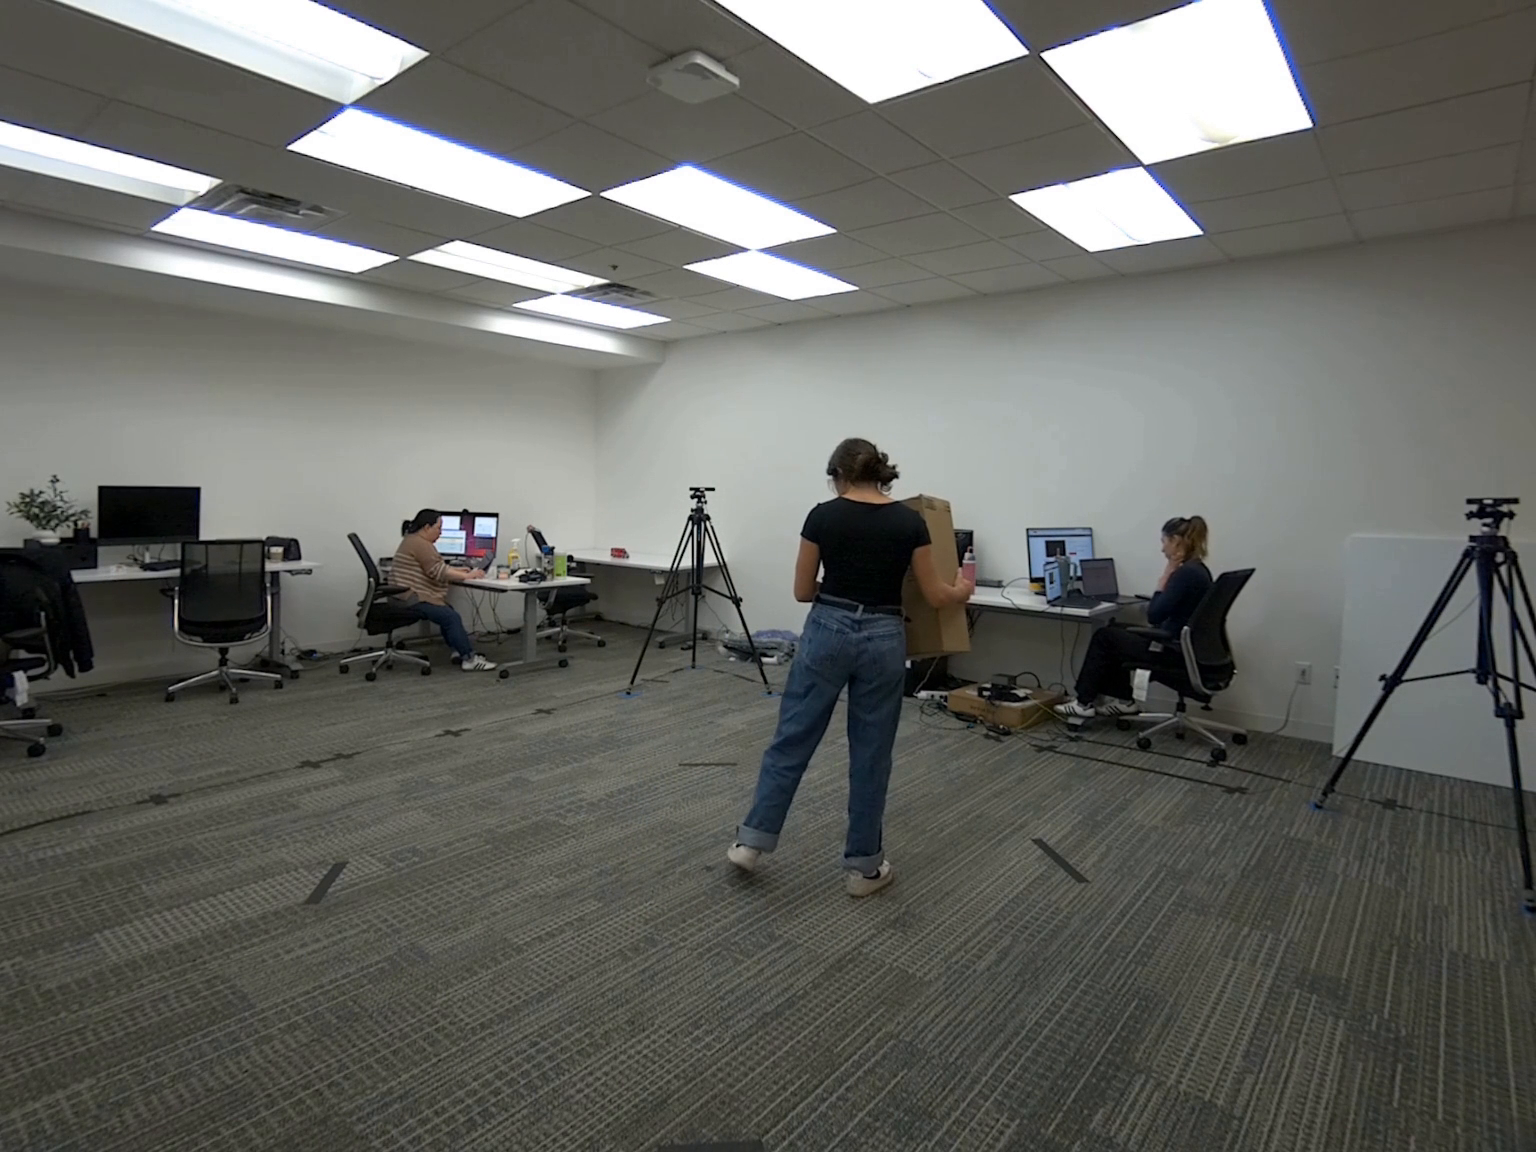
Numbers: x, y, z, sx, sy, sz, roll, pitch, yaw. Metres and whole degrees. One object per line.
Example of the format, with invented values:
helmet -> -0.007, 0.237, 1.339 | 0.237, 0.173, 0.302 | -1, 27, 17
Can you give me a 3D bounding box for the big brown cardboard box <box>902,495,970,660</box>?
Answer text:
big brown cardboard box -> 0.475, 0.020, 3.200 | 0.427, 0.597, 0.225 | -14, -15, 37
